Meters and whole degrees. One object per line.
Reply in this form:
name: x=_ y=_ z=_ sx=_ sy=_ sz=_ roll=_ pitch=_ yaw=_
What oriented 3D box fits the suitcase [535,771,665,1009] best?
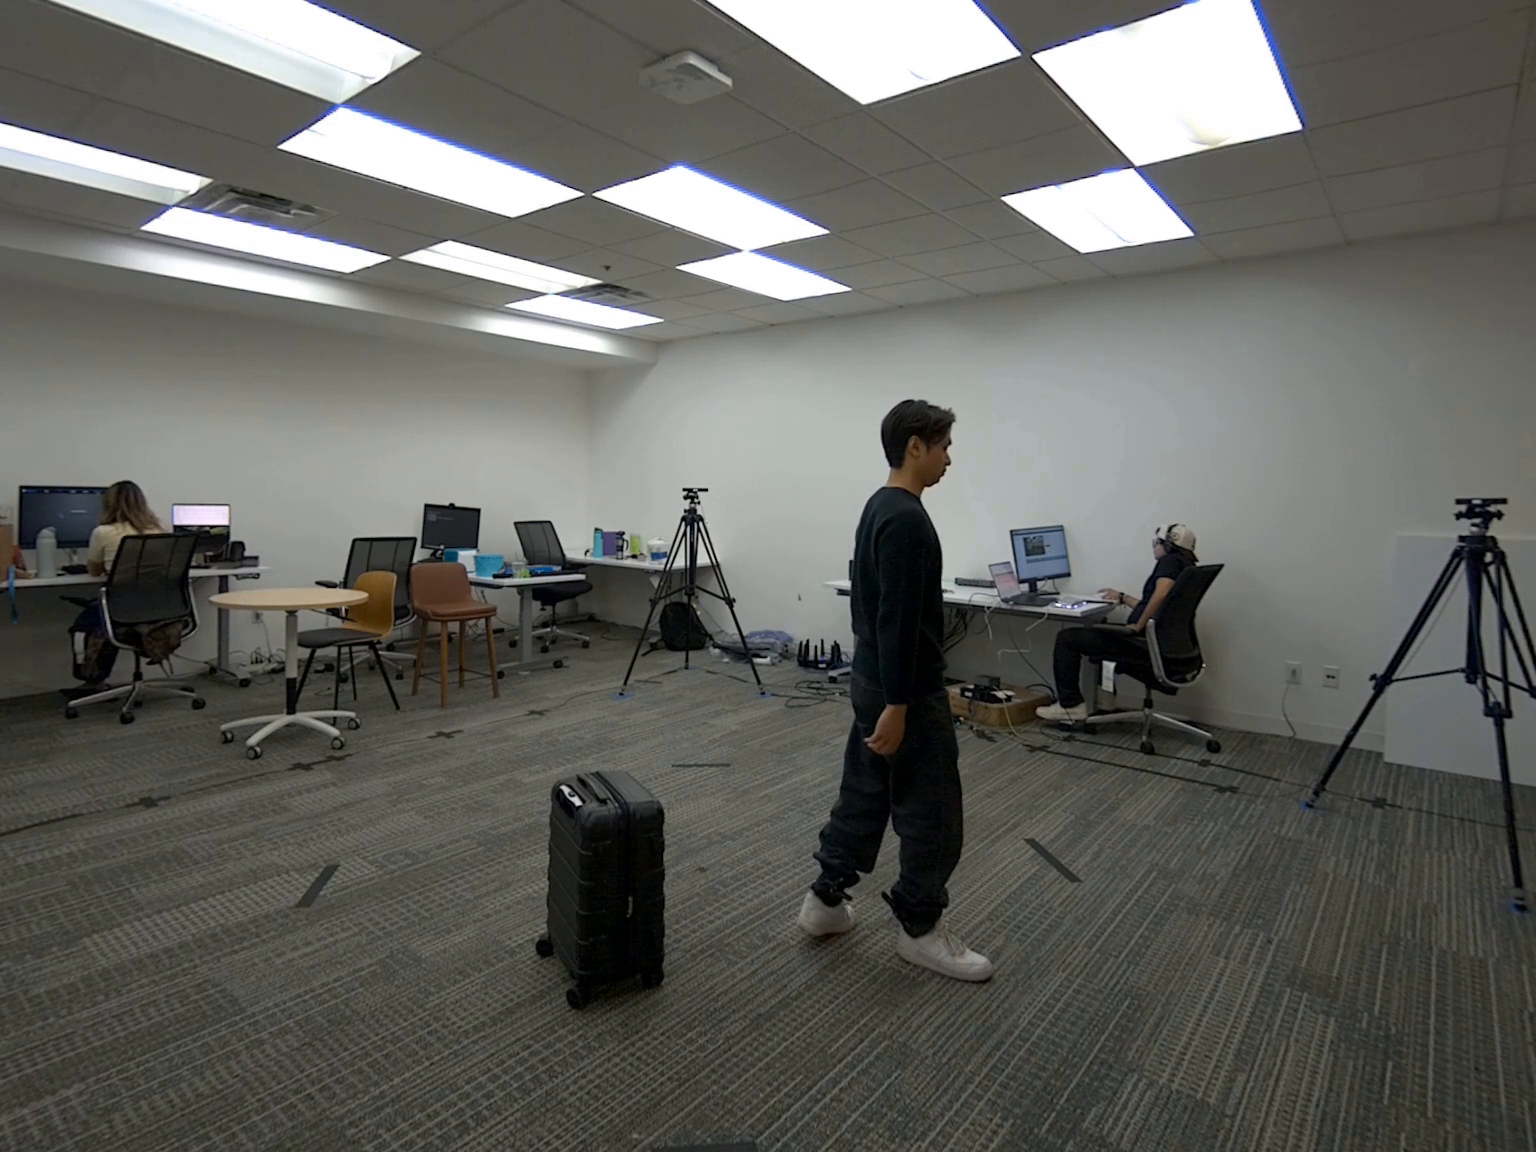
suitcase: x=-0.476 y=0.856 z=2.434 sx=0.241 sy=0.548 sz=0.387 roll=1 pitch=4 yaw=-30
